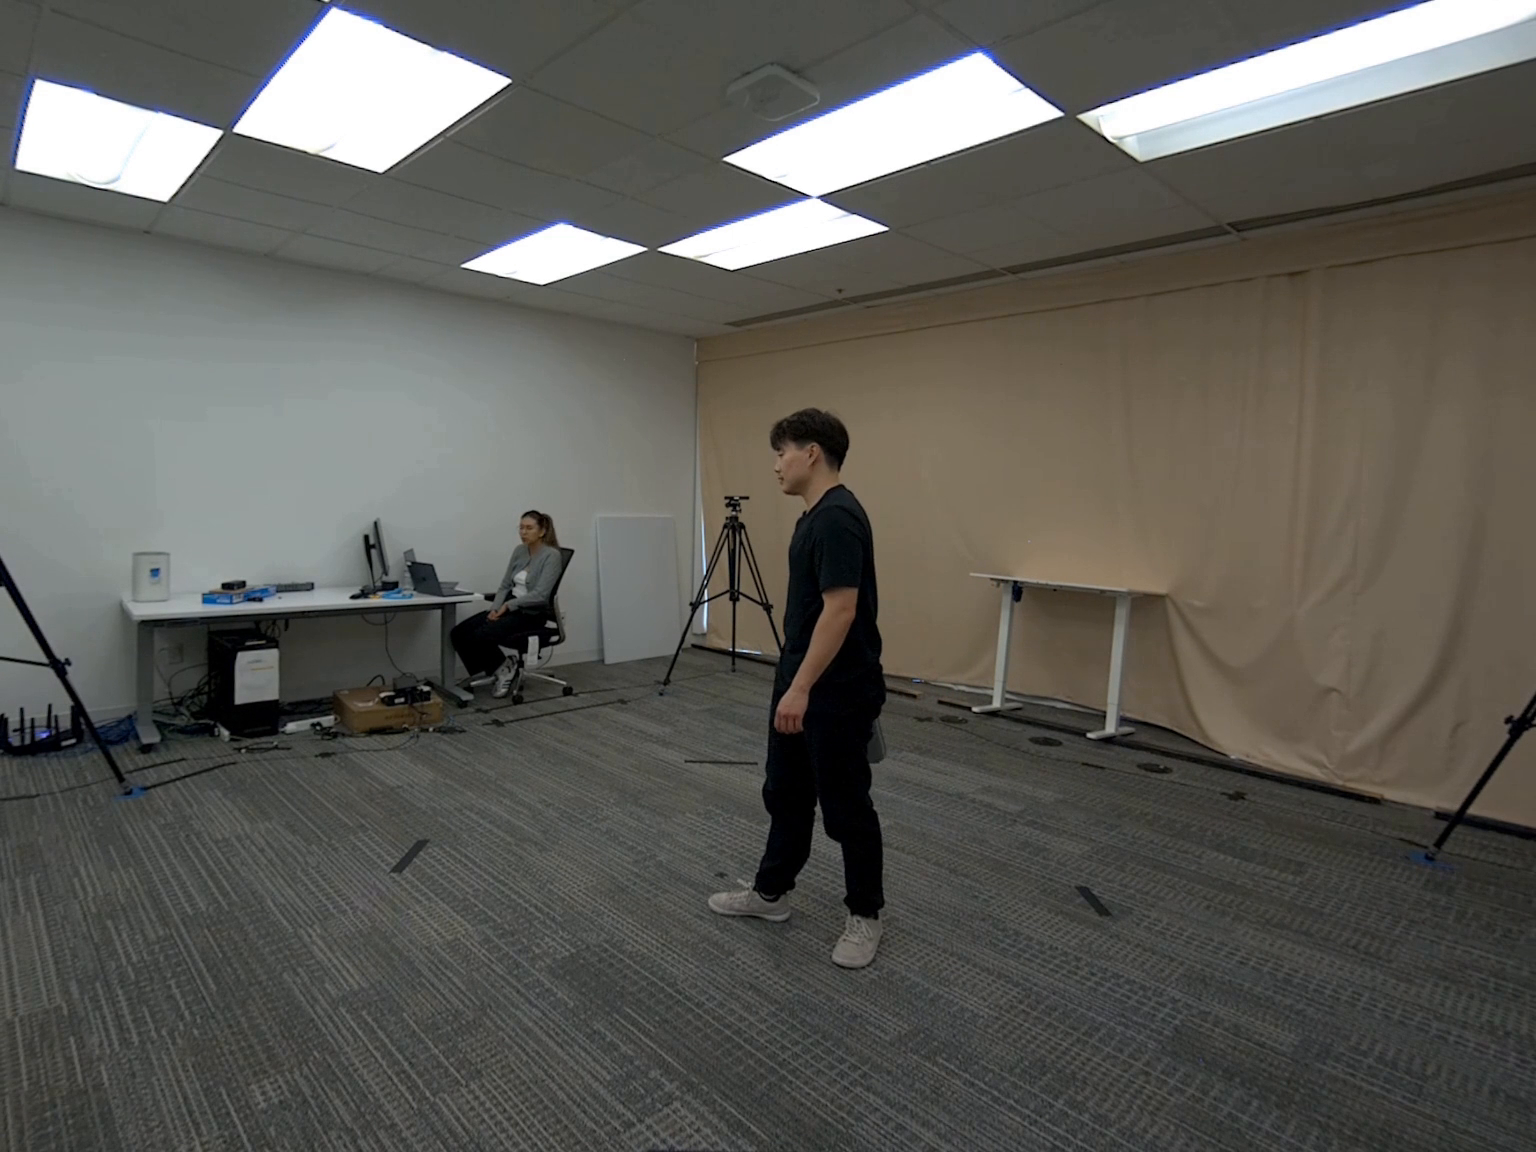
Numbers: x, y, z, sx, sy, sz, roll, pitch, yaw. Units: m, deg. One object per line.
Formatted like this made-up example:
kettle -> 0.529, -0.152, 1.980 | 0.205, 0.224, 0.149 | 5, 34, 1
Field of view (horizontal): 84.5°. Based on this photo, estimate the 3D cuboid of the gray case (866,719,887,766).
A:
gray case -> 0.251, 0.531, 2.913 | 0.258, 0.259, 0.104 | -10, 4, 7
